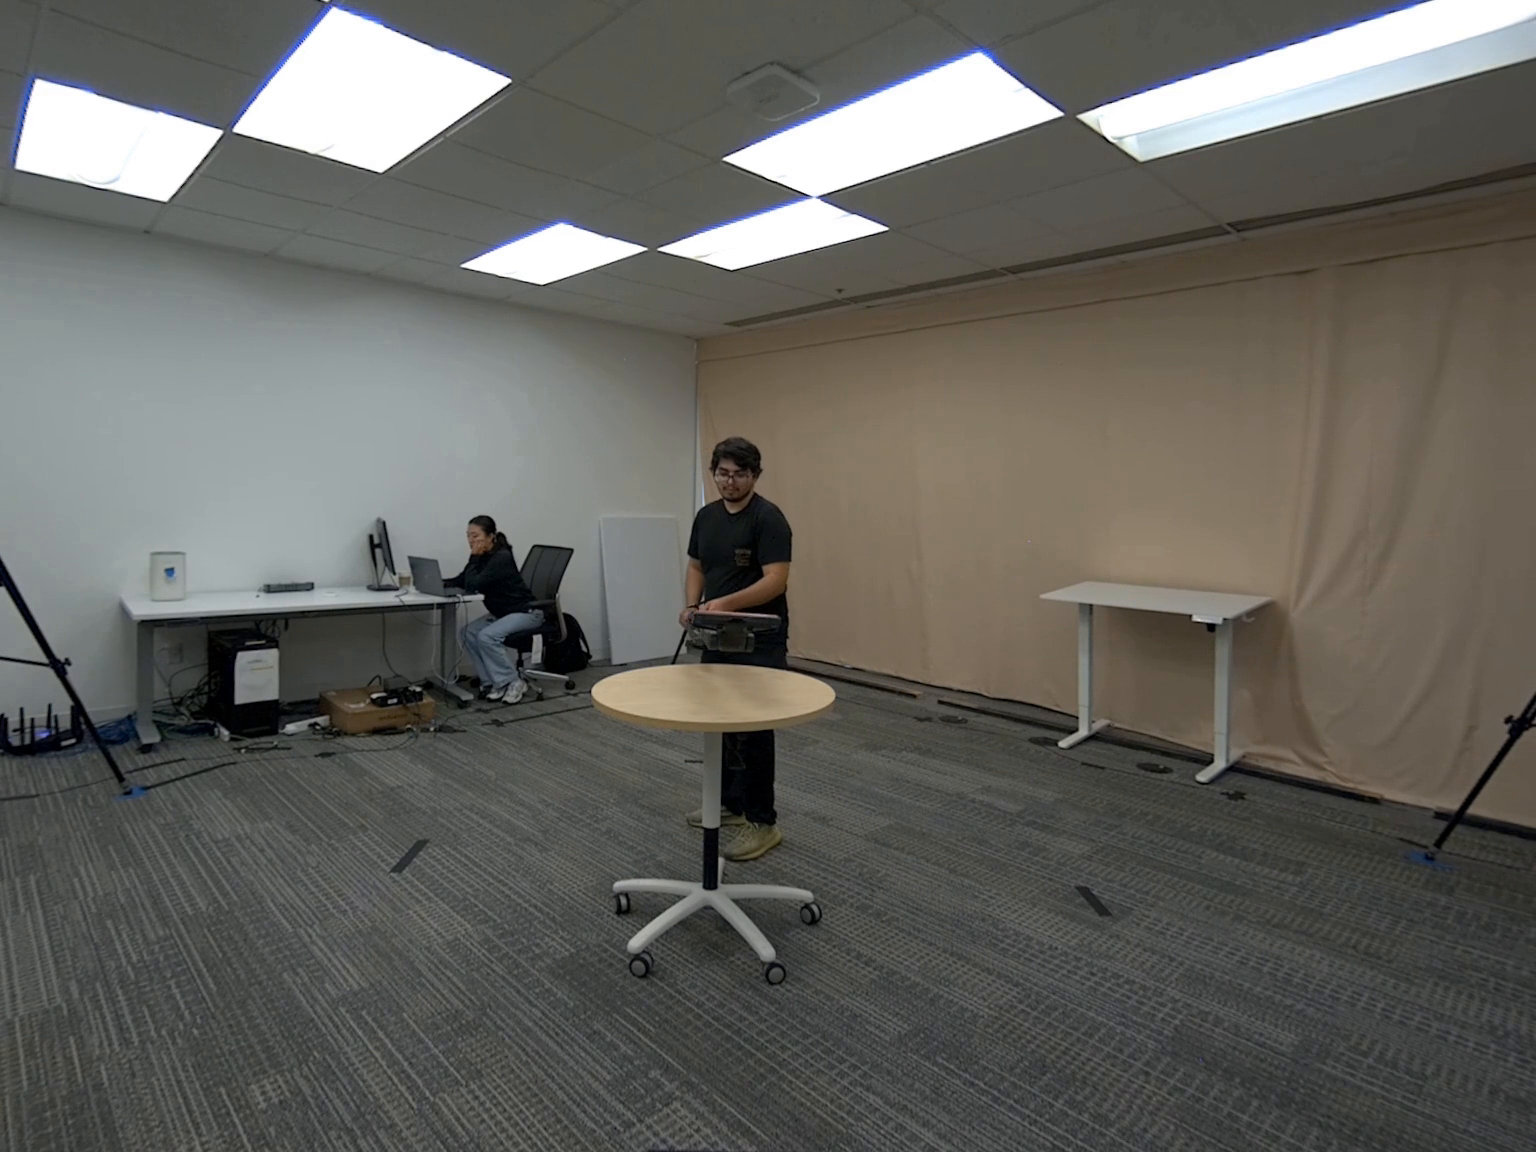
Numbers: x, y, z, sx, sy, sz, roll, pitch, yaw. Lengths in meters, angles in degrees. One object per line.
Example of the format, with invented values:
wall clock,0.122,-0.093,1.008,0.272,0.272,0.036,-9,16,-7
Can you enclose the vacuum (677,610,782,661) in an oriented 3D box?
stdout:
vacuum,-0.150,0.163,2.927,0.252,0.144,1.053,4,1,-5
